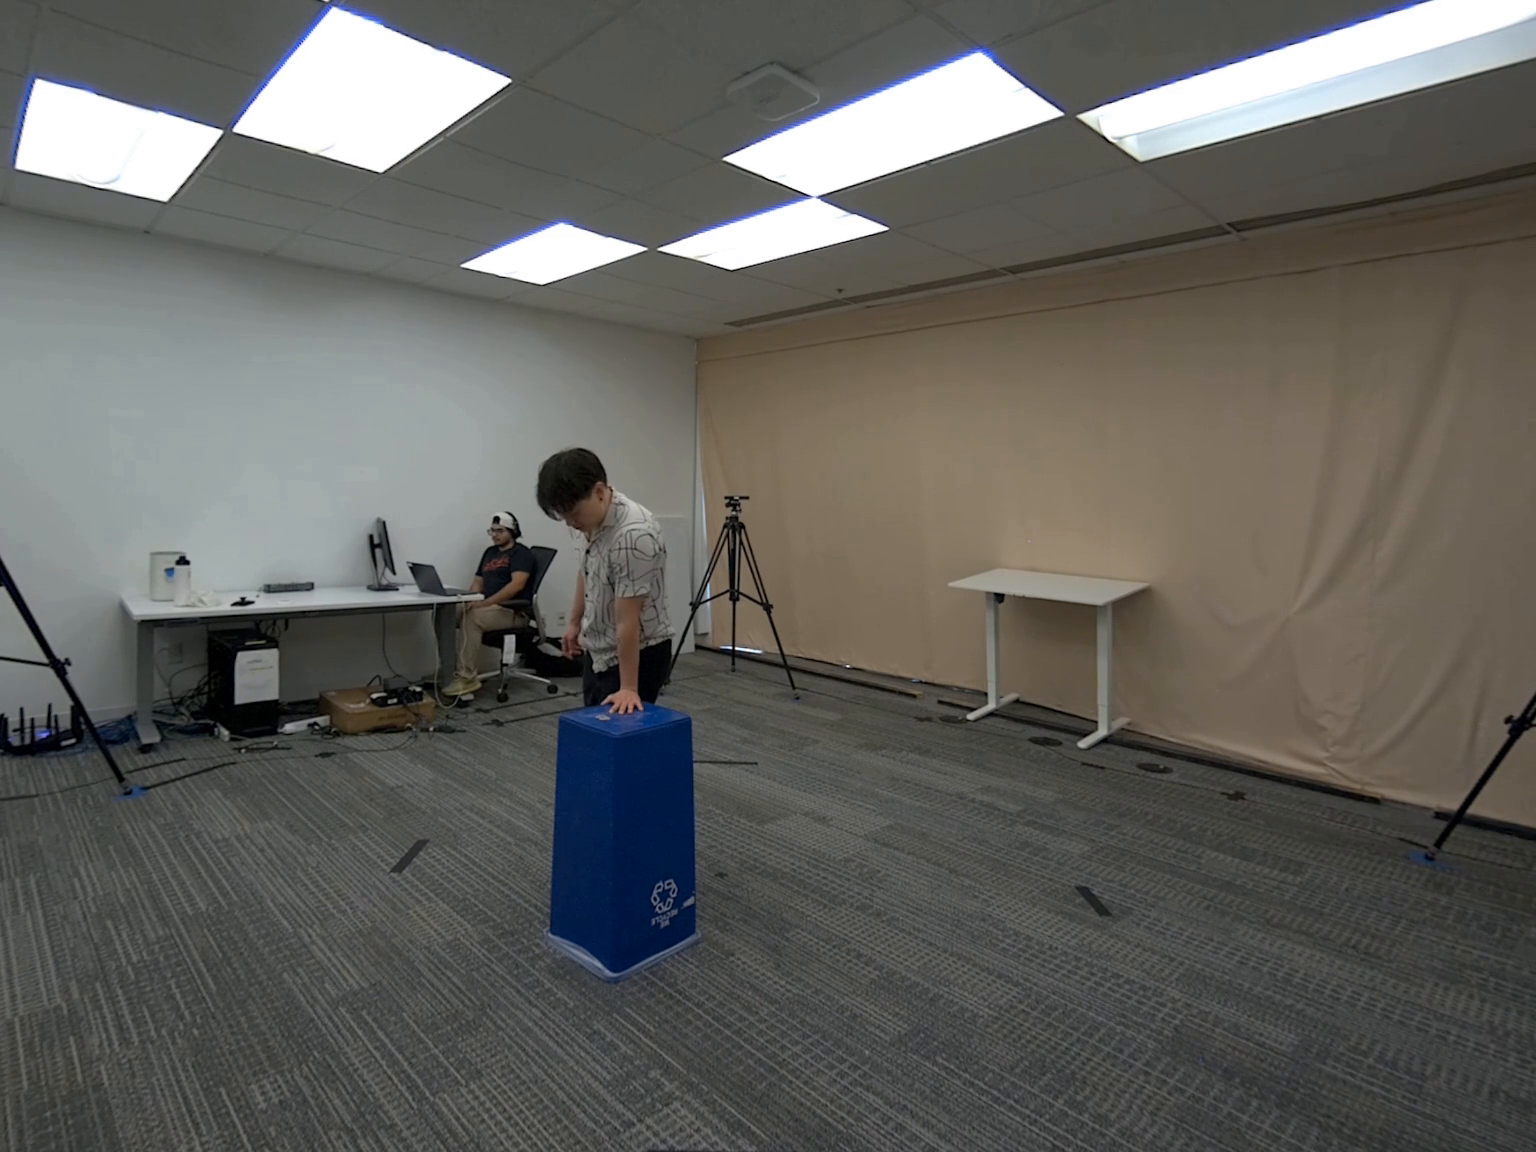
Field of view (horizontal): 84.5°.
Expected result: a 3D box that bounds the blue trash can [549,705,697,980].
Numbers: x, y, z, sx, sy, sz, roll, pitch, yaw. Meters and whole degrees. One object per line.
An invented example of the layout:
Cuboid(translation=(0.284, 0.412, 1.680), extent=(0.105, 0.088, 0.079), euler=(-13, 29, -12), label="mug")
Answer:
Cuboid(translation=(-0.464, 0.791, 2.618), extent=(0.387, 0.711, 0.366), euler=(4, 5, 44), label="blue trash can")
